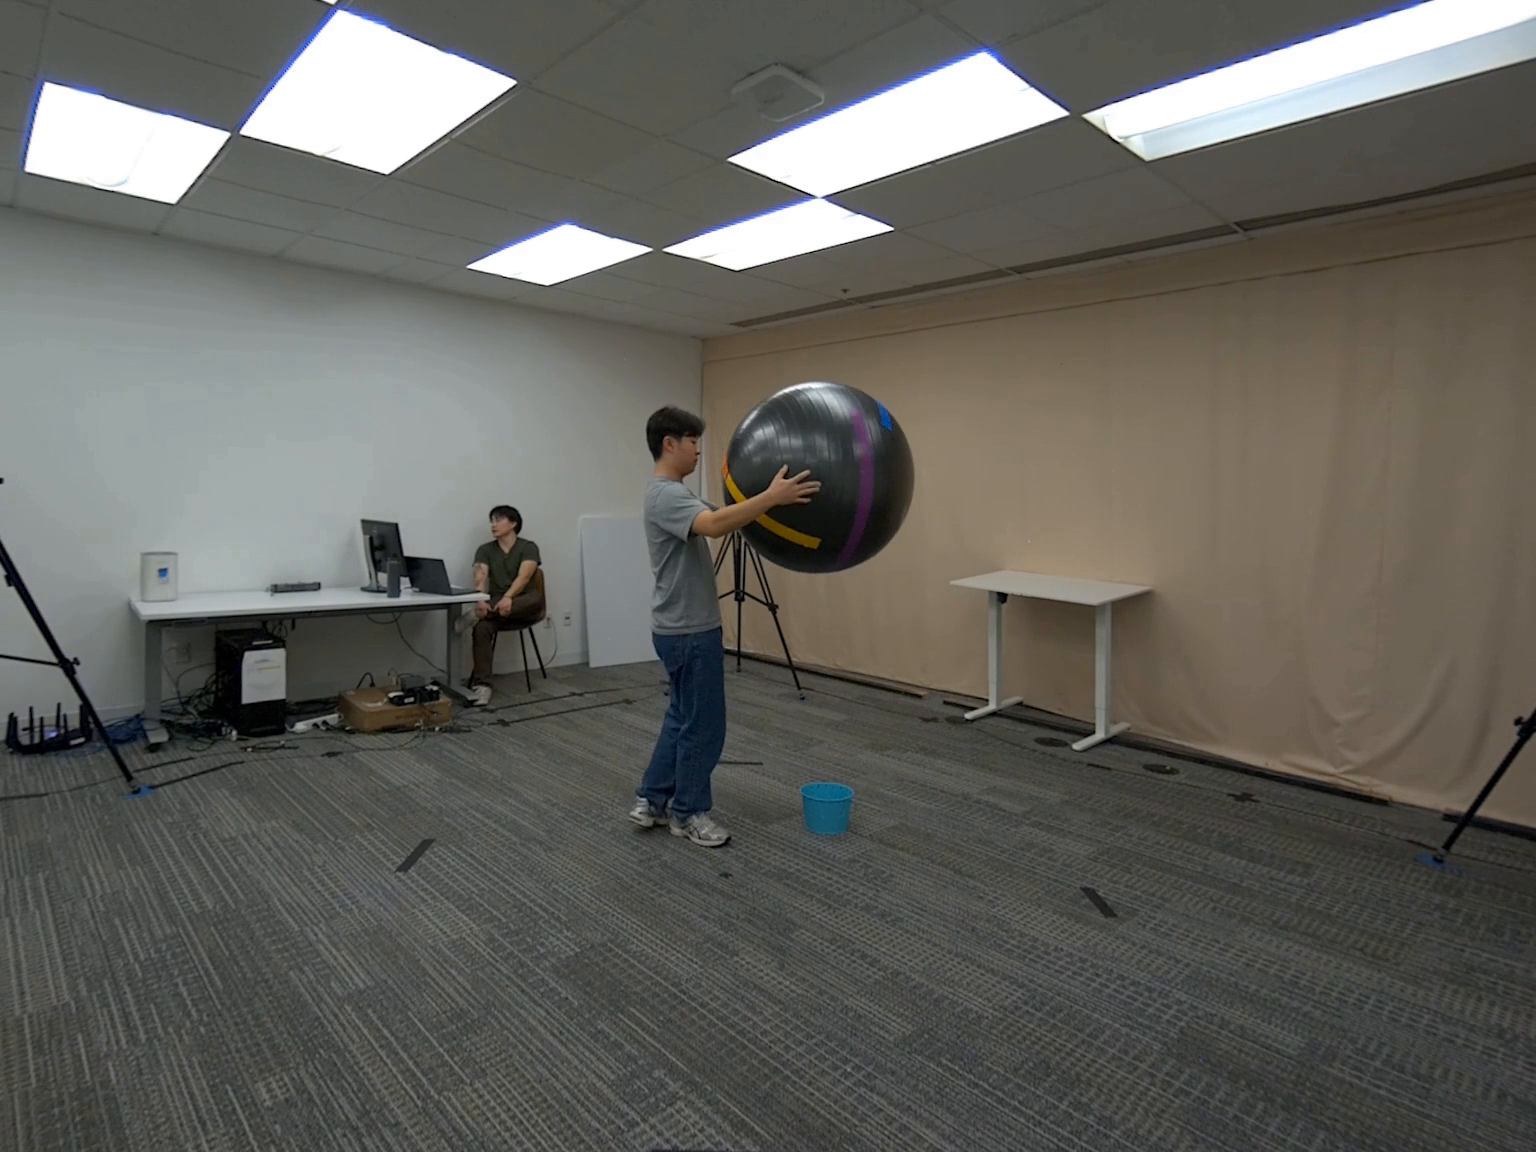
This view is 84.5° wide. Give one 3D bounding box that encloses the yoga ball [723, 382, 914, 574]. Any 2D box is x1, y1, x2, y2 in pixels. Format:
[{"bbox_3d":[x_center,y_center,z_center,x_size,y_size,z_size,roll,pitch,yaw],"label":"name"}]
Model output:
[{"bbox_3d":[0.200,-0.383,3.352,0.757,0.756,0.761,1,4,-1],"label":"yoga ball"}]
